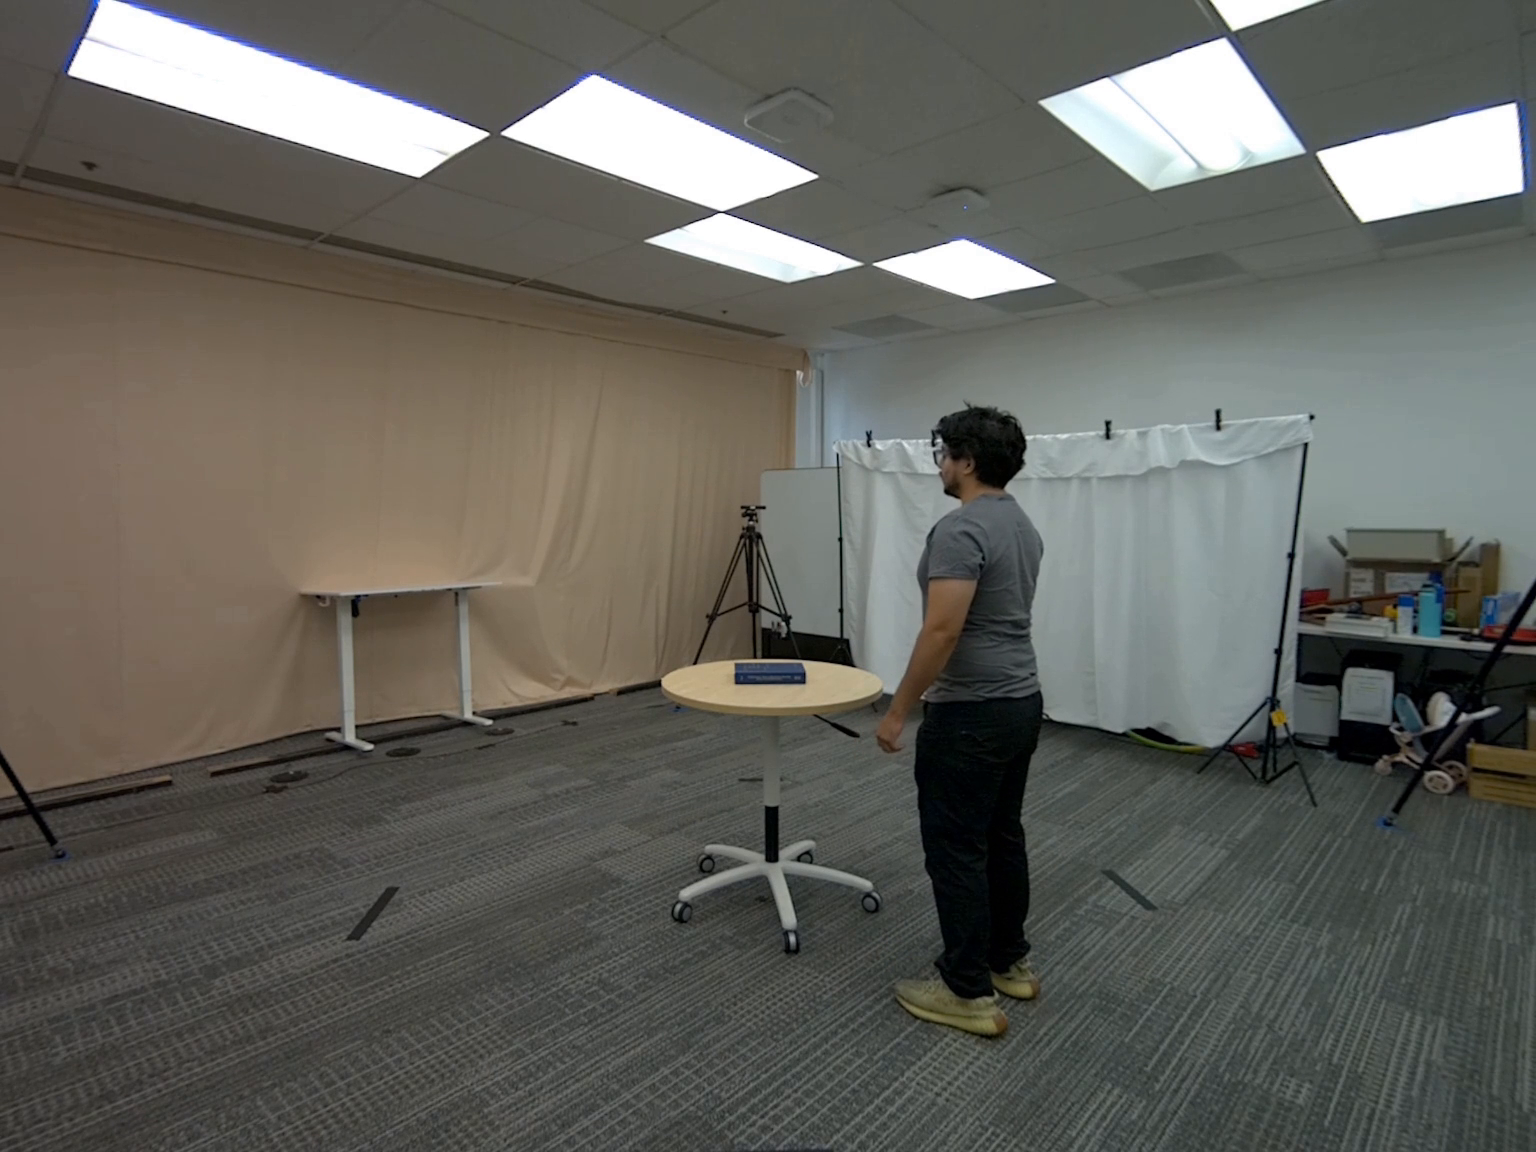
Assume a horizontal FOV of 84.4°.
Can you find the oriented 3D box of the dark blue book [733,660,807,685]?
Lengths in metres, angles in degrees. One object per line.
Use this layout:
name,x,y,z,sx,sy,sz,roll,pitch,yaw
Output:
dark blue book,0.006,0.344,2.943,0.245,0.045,0.164,0,4,-1
